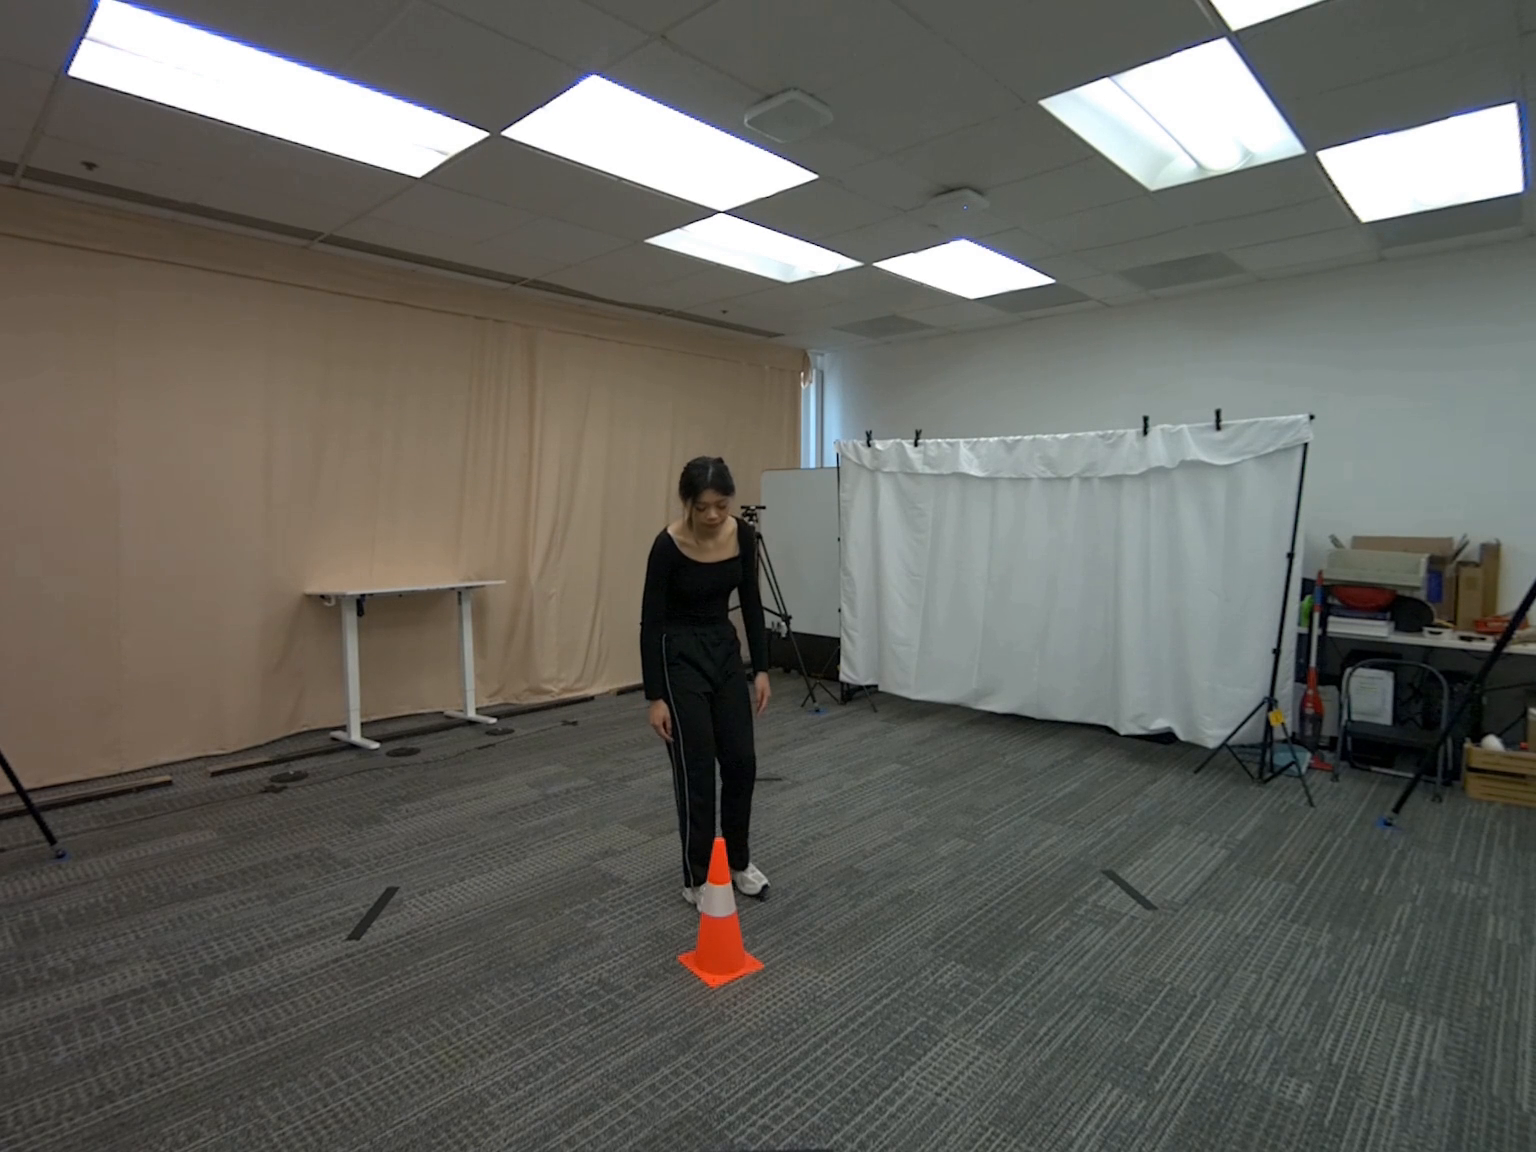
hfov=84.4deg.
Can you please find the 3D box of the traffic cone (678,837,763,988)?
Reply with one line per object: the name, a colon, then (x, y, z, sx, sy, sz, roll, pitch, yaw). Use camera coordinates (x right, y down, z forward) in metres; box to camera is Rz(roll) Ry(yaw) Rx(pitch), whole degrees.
traffic cone: (-0.142, 0.989, 2.565, 0.199, 0.383, 0.210, -2, 3, -38)
